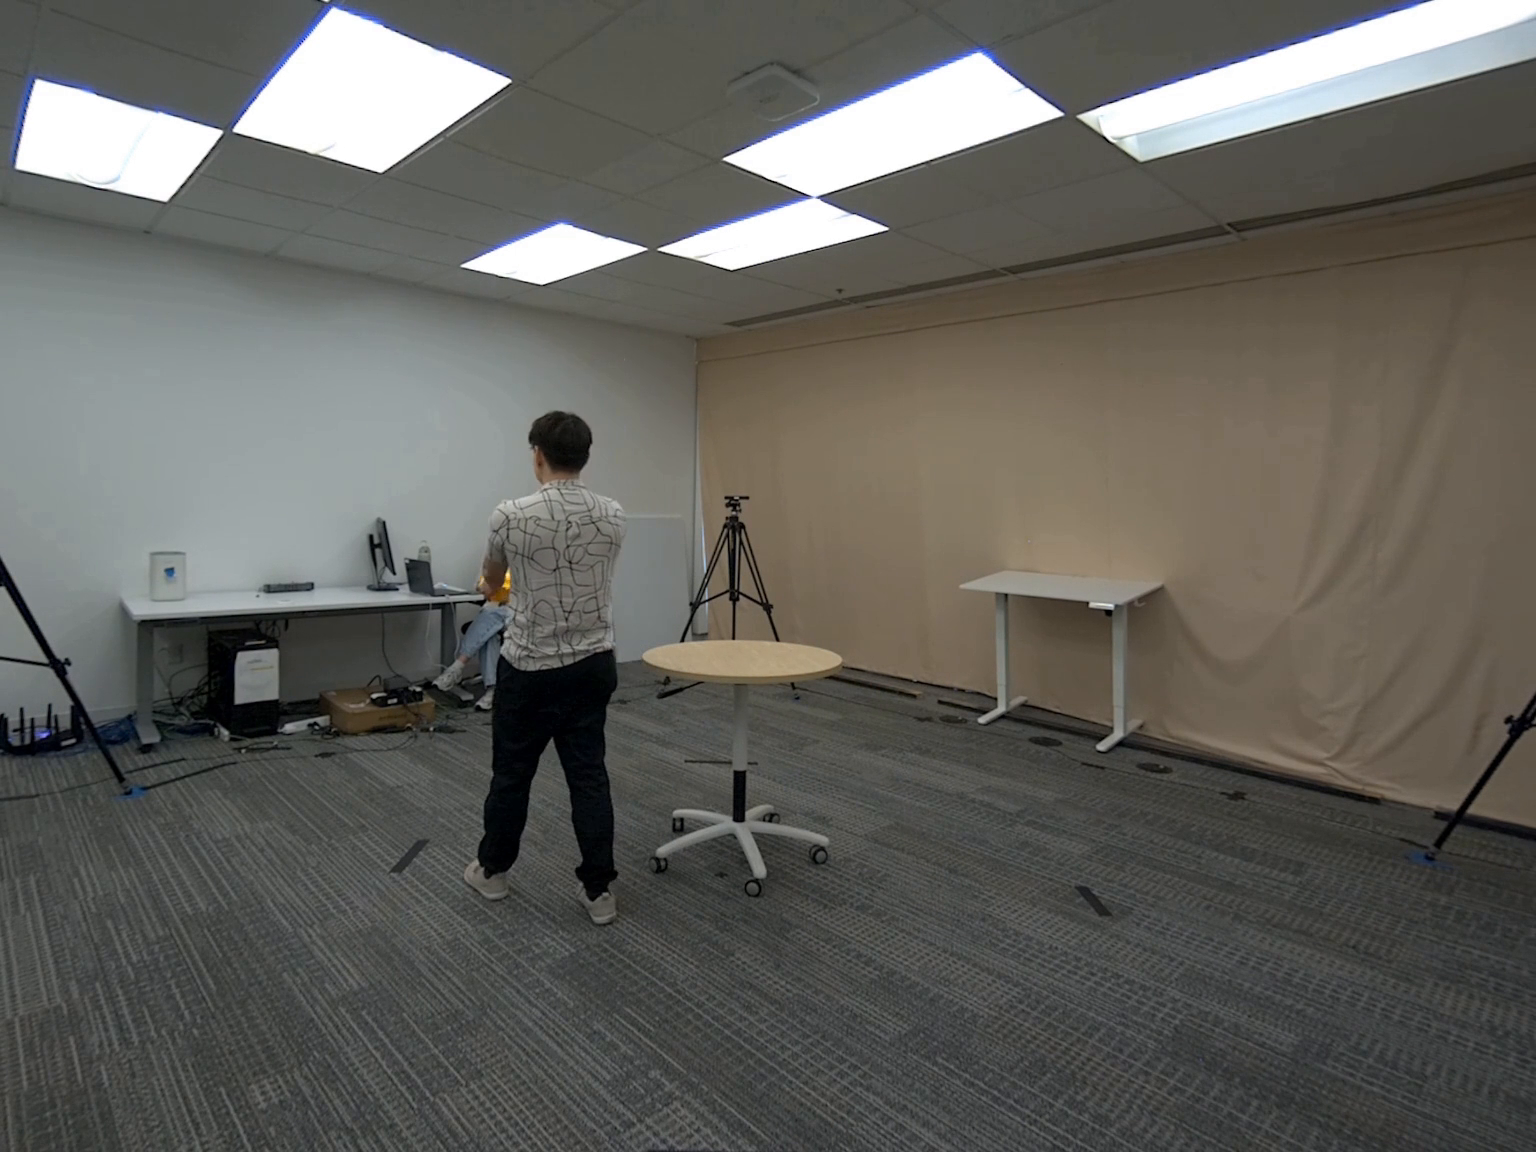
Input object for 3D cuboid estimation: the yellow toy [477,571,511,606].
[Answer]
[{"bbox_3d":[-0.995,-0.037,3.258,0.200,0.234,0.194,-2,-21,-32],"label":"yellow toy"}]
